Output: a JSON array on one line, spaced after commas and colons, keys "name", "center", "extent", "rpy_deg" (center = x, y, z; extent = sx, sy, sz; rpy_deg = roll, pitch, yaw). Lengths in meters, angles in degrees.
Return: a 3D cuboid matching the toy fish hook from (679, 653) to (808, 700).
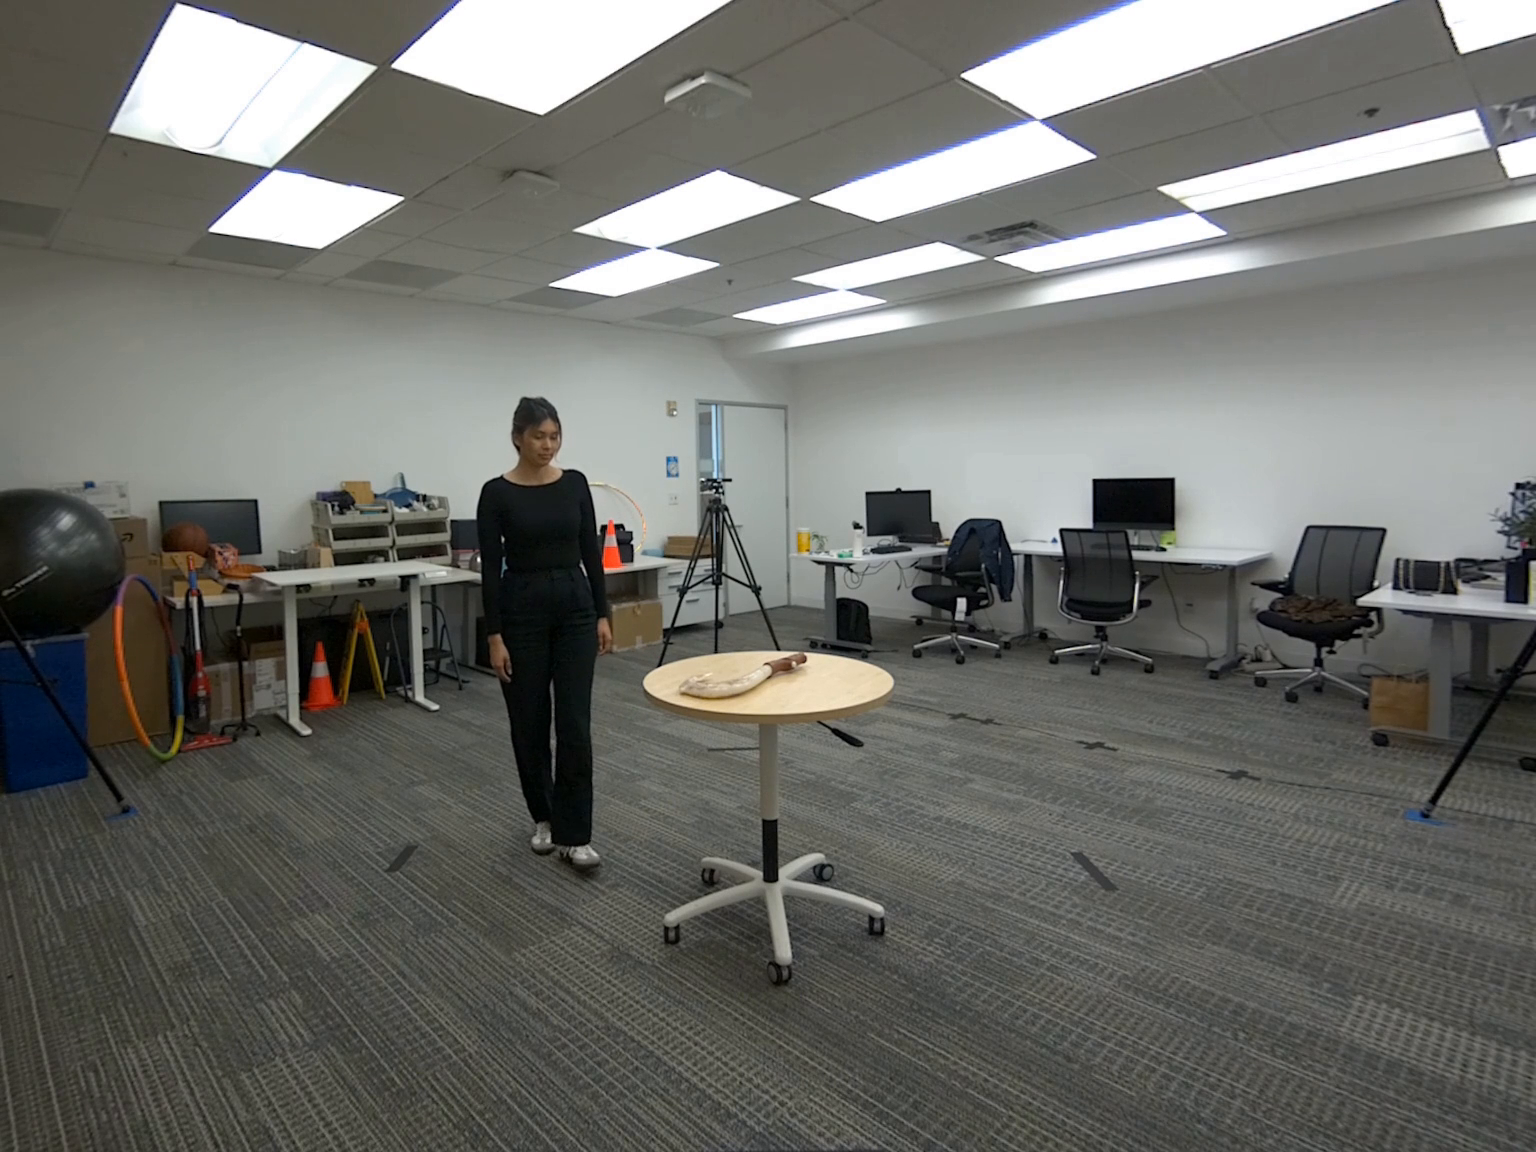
[{"name": "toy fish hook", "center": [-0.066, 0.297, 2.612], "extent": [0.231, 0.048, 0.495], "rpy_deg": [4, 9, 34]}]
